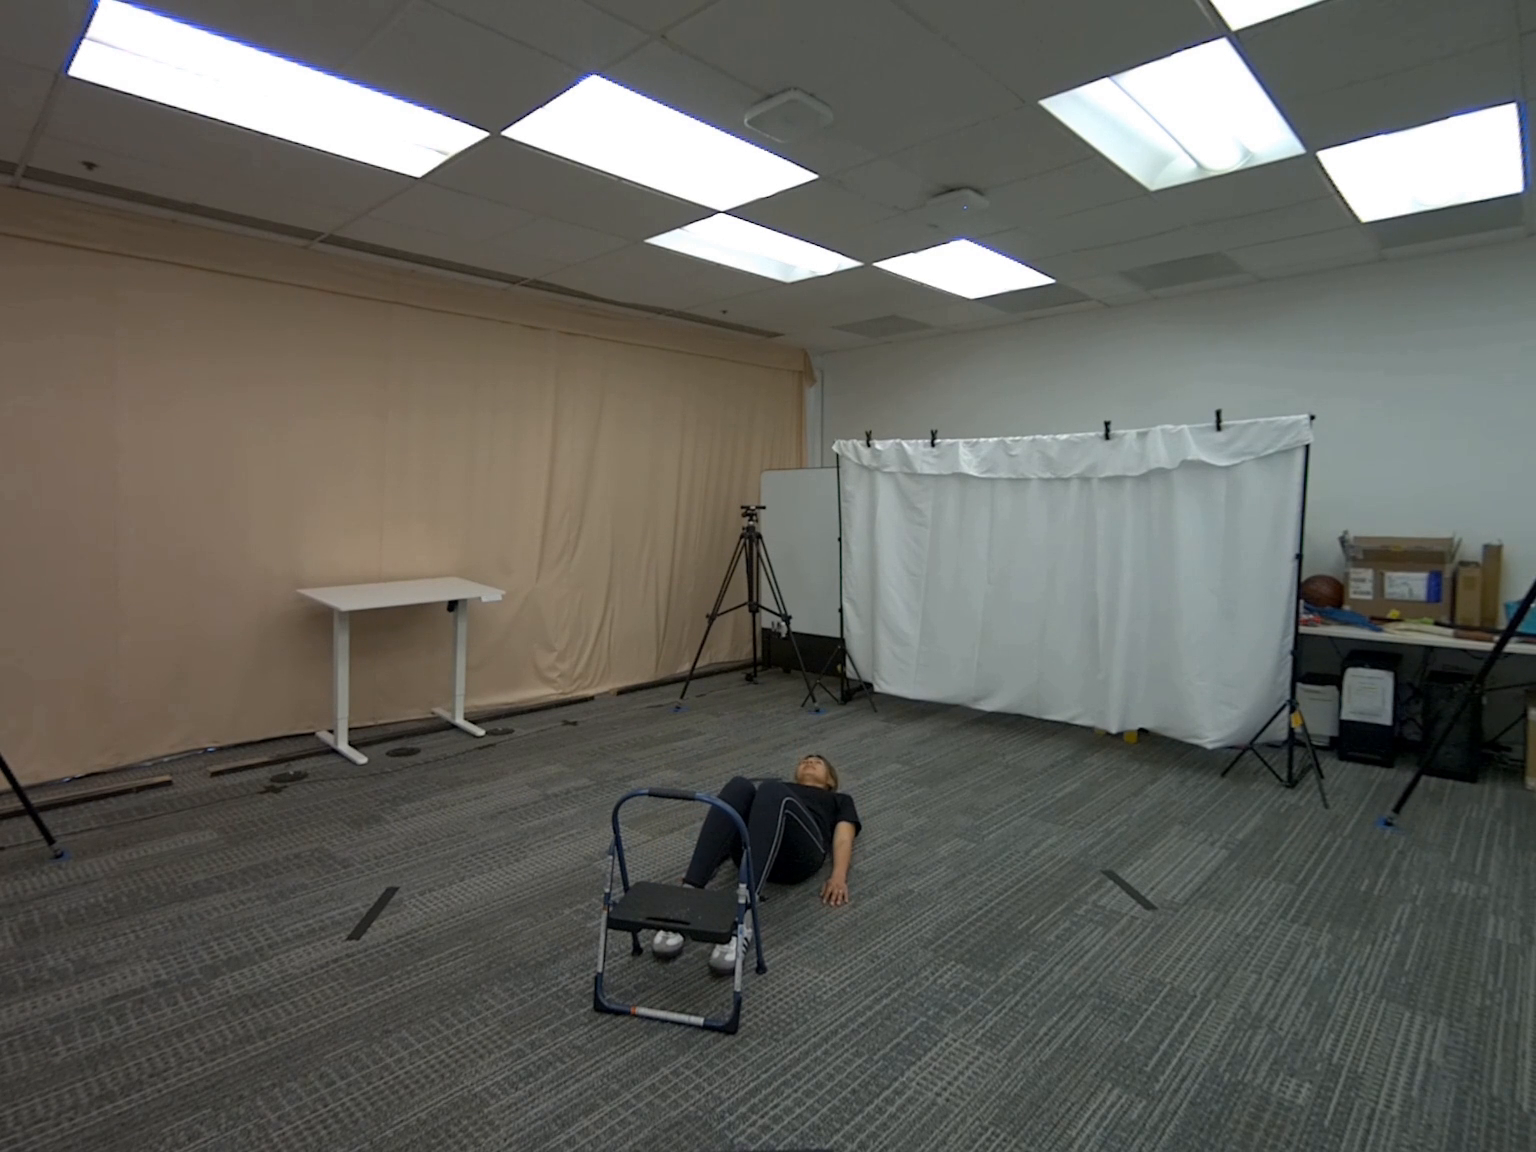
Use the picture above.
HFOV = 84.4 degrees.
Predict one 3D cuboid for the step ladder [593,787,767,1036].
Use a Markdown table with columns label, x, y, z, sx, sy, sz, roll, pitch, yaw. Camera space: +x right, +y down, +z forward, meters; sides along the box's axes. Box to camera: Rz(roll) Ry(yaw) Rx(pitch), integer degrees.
| label | x | y | z | sx | sy | sz | roll | pitch | yaw |
| --- | --- | --- | --- | --- | --- | --- | --- | --- | --- |
| step ladder | -0.250 | 0.887 | 2.414 | 0.437 | 0.605 | 0.344 | 1 | 3 | 14 |
